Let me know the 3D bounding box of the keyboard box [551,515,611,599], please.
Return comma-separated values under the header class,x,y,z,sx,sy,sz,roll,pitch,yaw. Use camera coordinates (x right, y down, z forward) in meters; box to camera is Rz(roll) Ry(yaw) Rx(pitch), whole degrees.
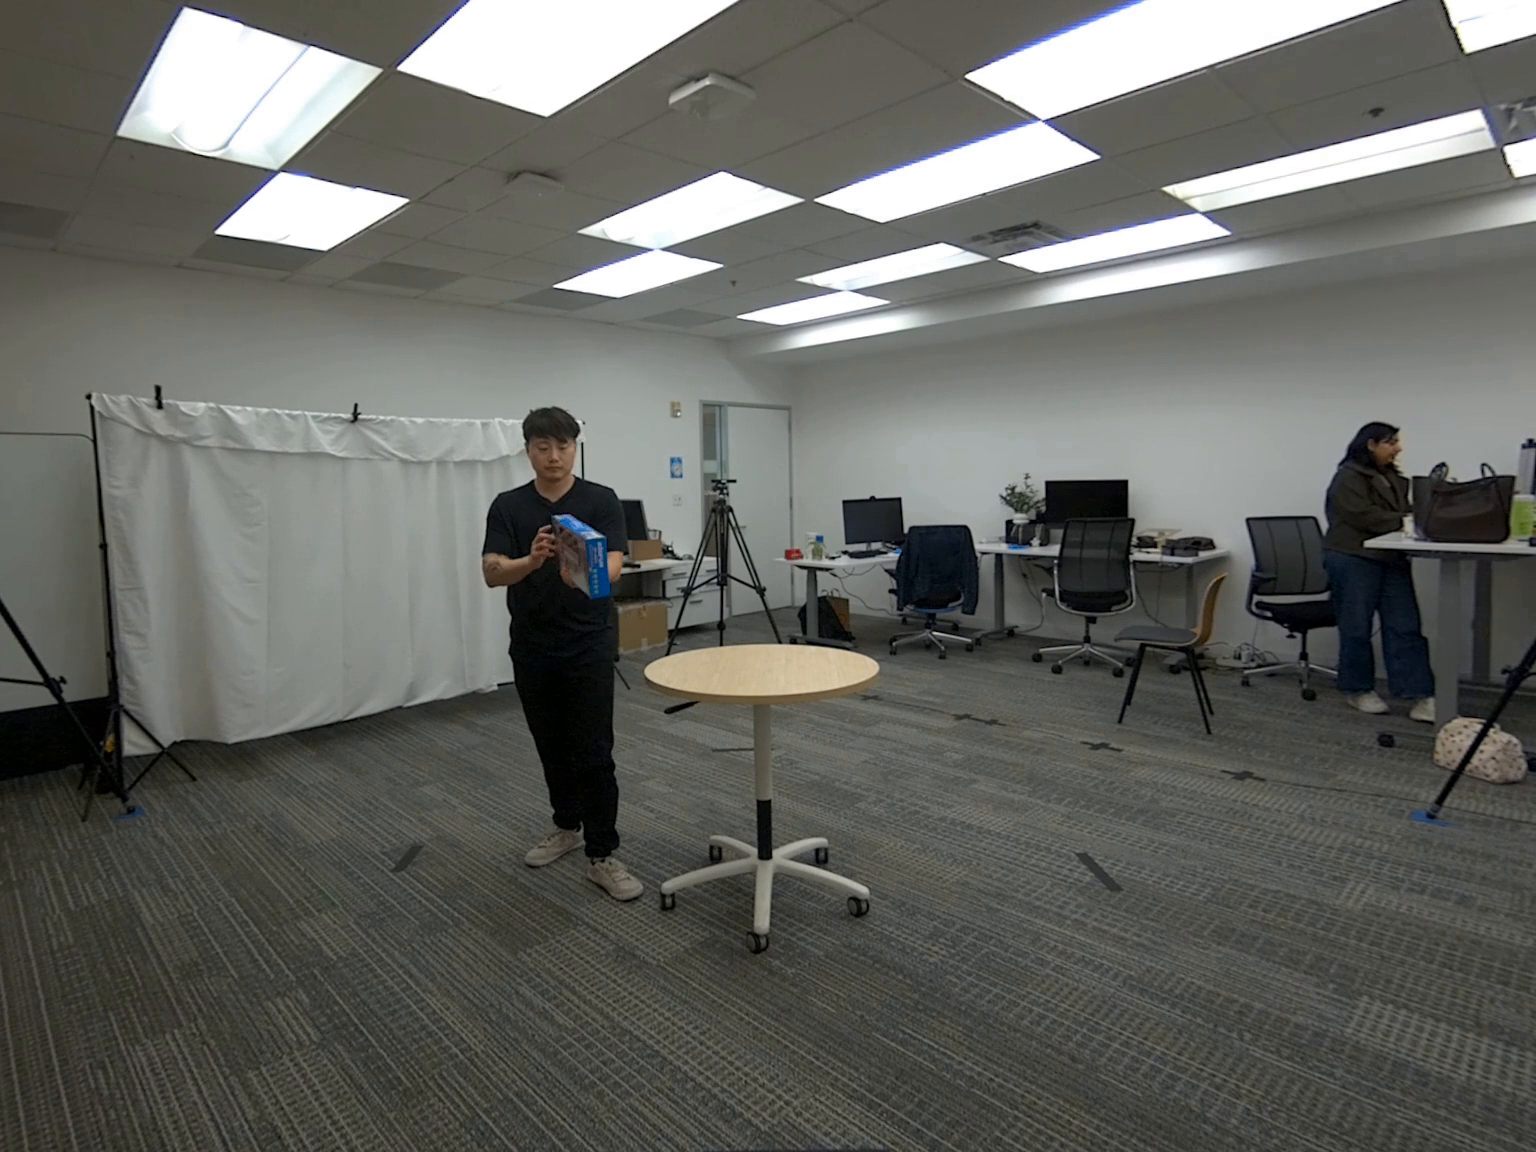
class,x,y,z,sx,sy,sz,roll,pitch,yaw
keyboard box,-0.570,-0.067,2.576,0.058,0.174,0.450,-9,15,-25
